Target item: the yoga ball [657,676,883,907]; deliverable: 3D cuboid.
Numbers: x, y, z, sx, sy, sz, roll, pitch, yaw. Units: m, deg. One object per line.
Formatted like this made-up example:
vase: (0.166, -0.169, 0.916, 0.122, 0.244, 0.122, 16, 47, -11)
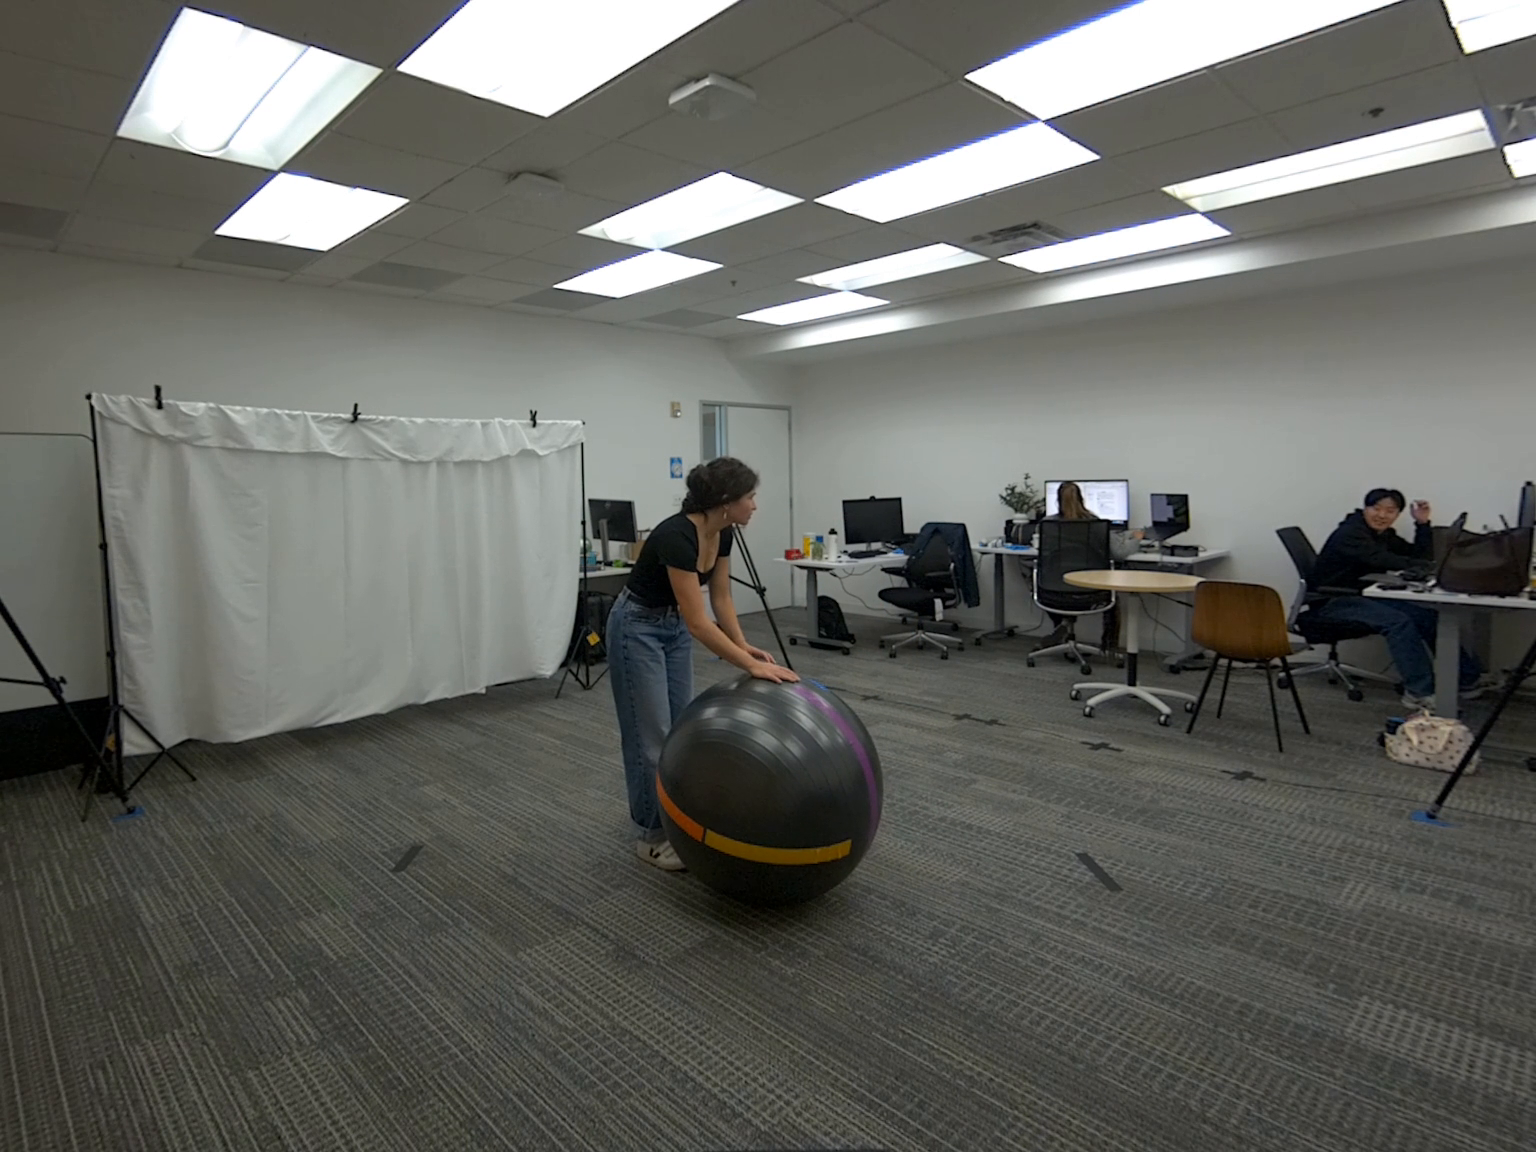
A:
yoga ball: (0.014, 0.707, 2.879, 0.757, 0.755, 0.762, -1, 5, -2)
